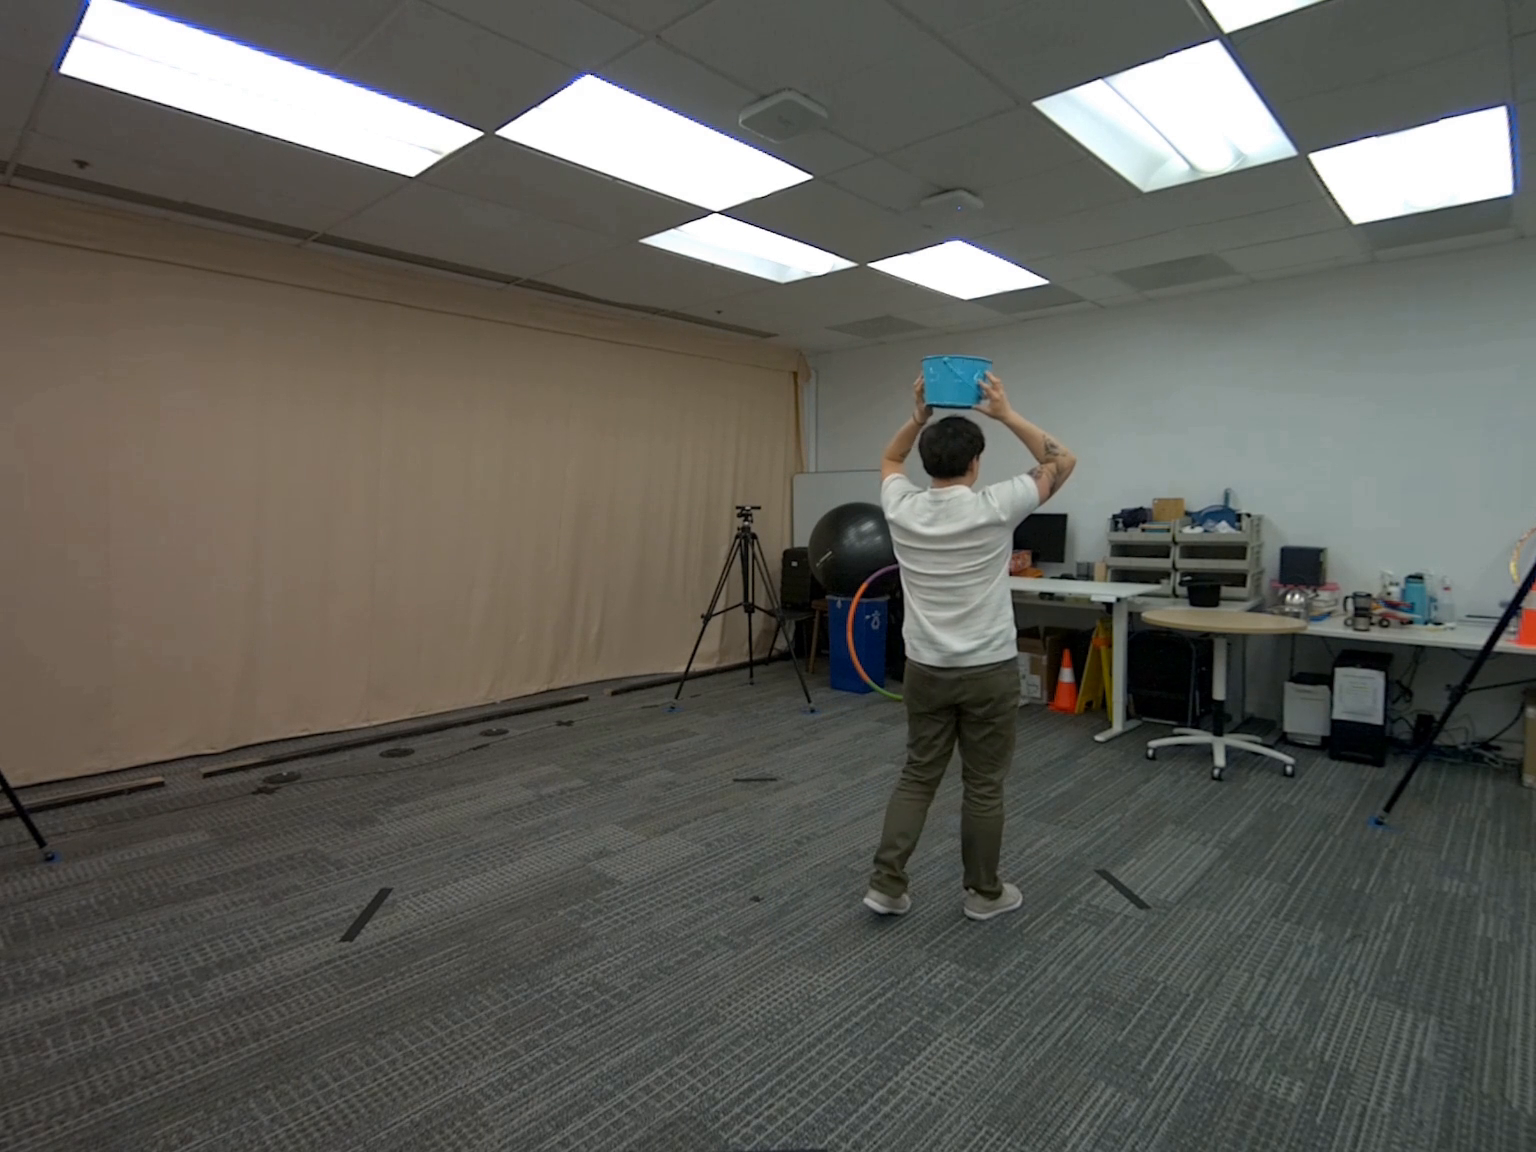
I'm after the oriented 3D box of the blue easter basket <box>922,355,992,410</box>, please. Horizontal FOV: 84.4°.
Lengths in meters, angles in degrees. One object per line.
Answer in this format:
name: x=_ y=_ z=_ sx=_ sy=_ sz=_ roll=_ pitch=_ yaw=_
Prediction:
blue easter basket: x=0.638 y=-0.646 z=2.823 sx=0.243 sy=0.155 sz=0.245 roll=4 pitch=6 yaw=-2
